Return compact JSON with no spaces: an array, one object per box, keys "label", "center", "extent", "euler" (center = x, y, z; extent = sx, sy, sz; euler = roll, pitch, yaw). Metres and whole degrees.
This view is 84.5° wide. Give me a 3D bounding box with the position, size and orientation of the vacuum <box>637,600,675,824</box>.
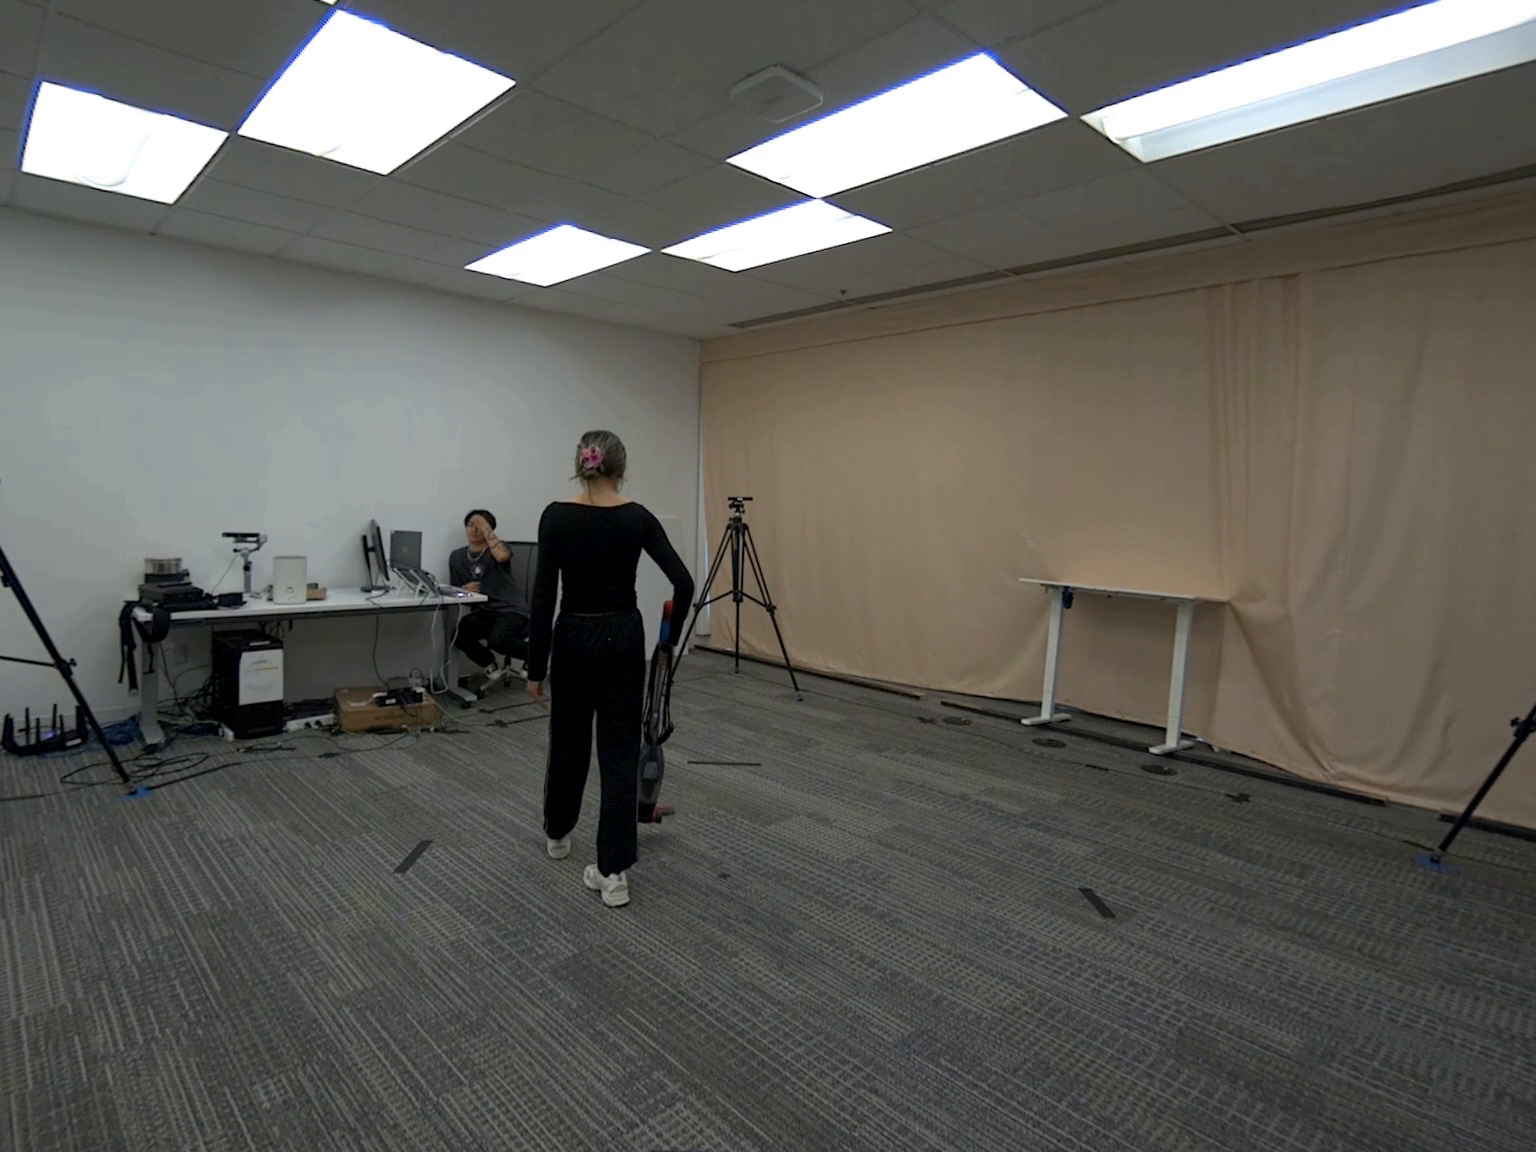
[{"label":"vacuum","center":[-0.422,0.541,3.133],"extent":[0.251,1.033,0.147],"euler":[6,31,-8]}]
